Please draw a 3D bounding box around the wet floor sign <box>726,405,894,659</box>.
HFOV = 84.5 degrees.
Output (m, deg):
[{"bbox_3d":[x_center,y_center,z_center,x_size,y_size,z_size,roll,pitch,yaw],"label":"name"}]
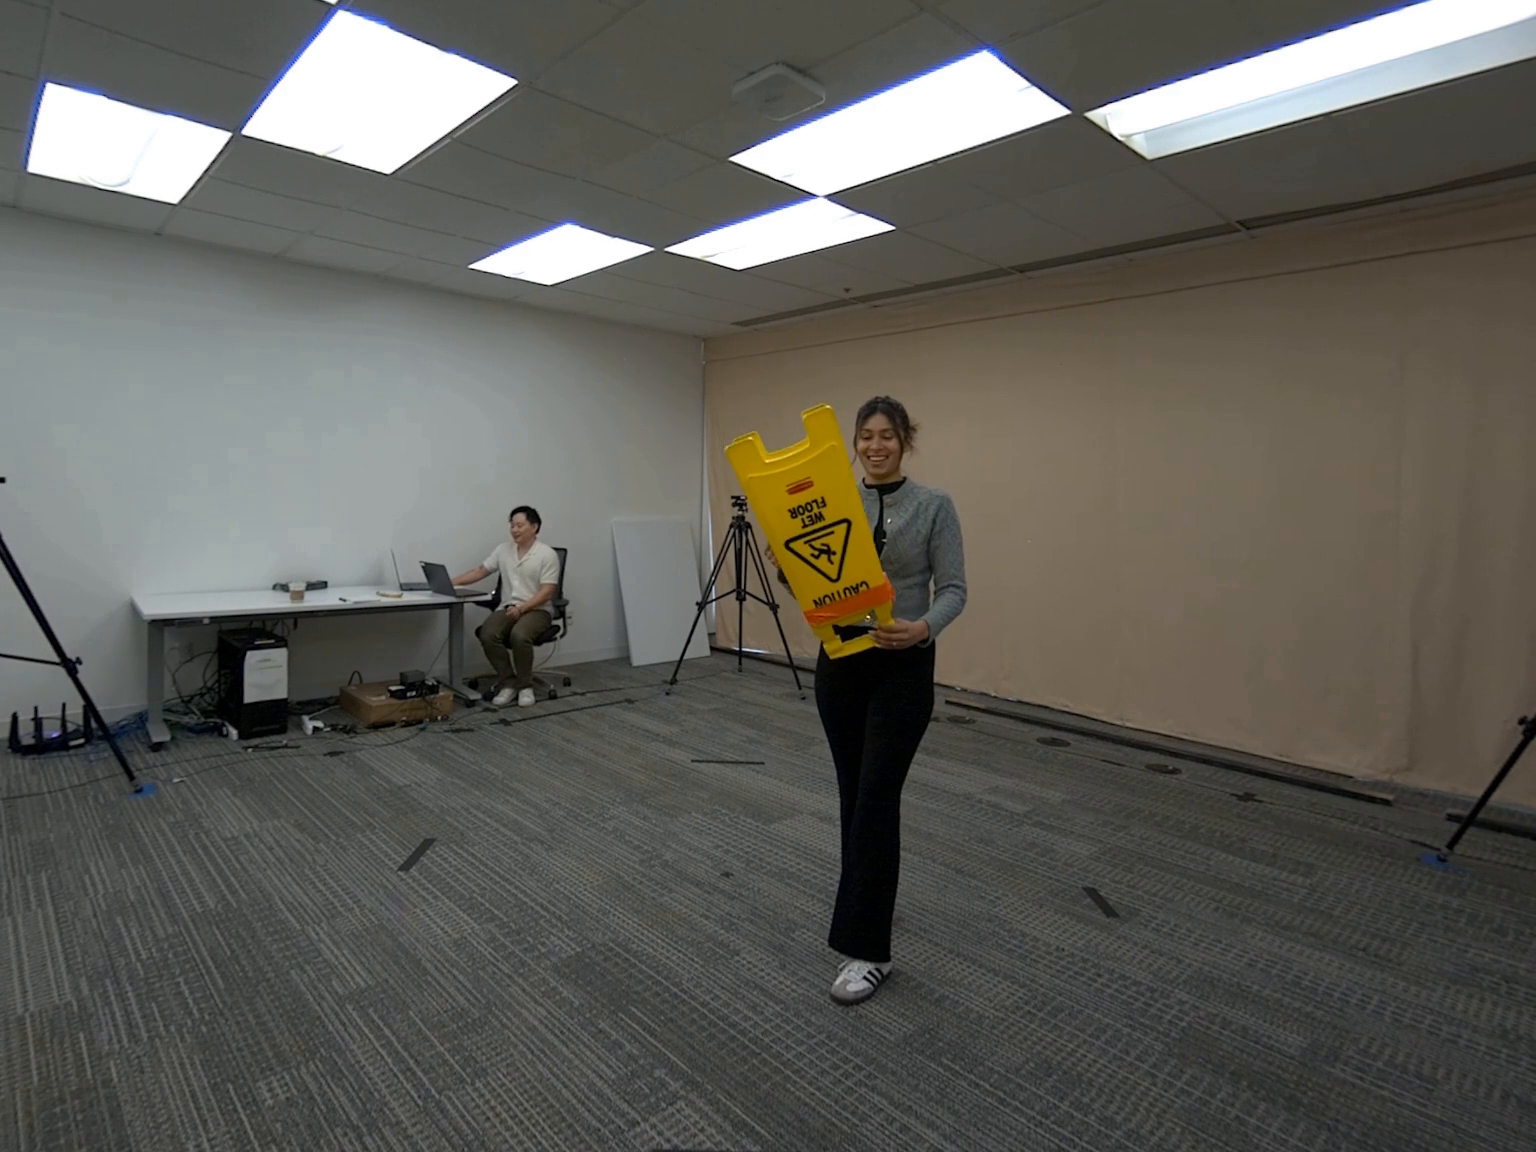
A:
[{"bbox_3d":[0.141,-0.100,2.213,0.283,0.639,0.292,-20,12,5],"label":"wet floor sign"}]
